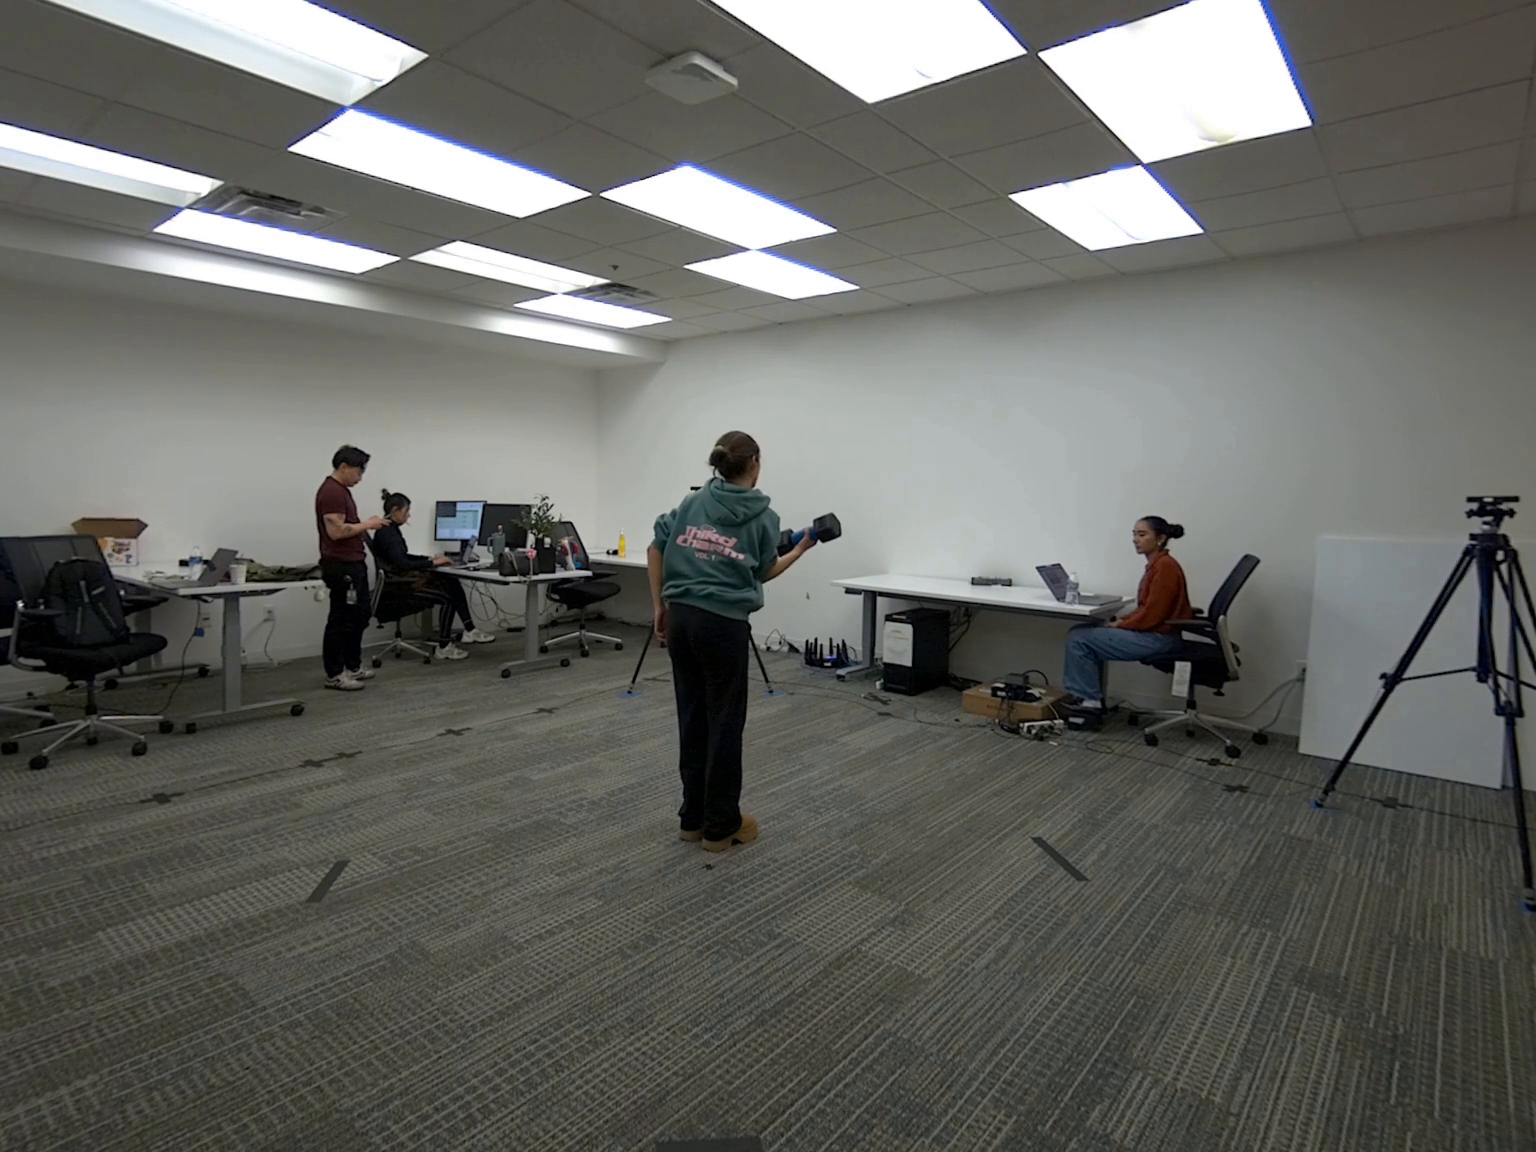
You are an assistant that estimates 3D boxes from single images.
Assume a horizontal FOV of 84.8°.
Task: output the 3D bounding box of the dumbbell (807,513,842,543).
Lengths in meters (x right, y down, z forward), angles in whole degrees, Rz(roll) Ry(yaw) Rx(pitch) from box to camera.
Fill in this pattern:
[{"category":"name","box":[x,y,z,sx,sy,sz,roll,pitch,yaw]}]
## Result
[{"category":"dumbbell","box":[0.150,-0.163,3.553,0.299,0.109,0.121,-21,1,34]}]
